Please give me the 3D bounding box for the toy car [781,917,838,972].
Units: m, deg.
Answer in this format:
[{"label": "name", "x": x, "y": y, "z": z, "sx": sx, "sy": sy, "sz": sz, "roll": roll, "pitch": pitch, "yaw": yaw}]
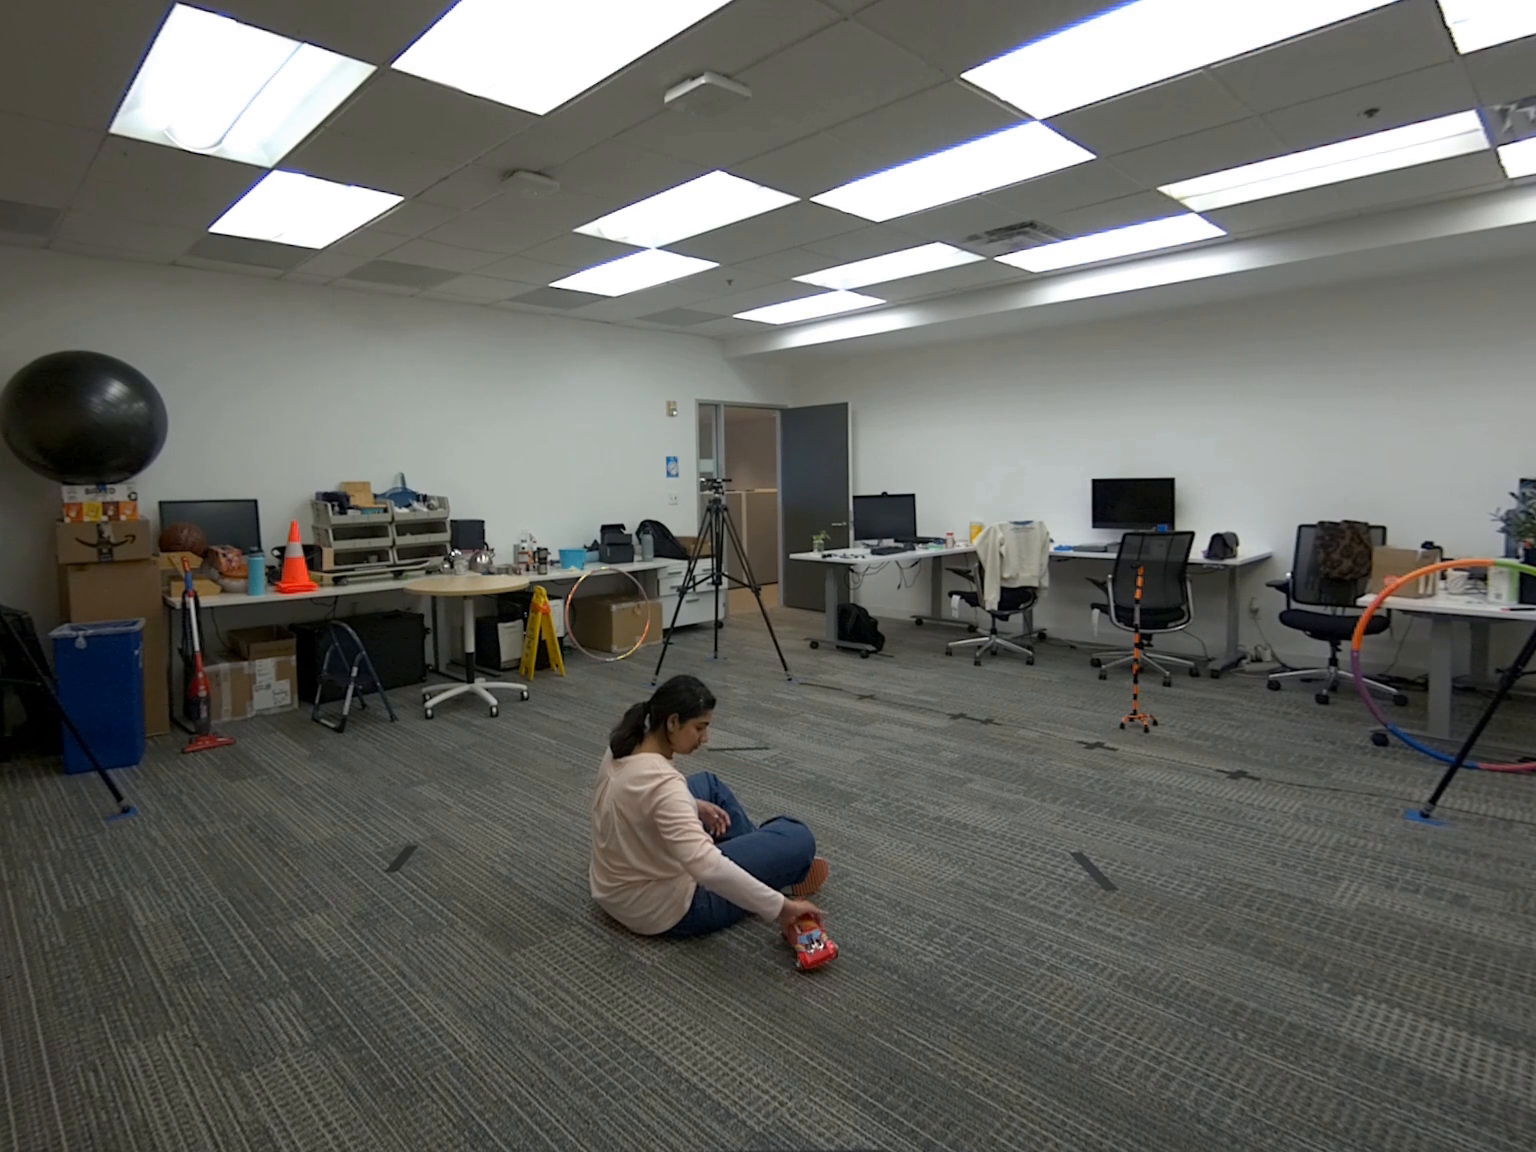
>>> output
[{"label": "toy car", "x": 0.098, "y": 1.053, "z": 2.517, "sx": 0.129, "sy": 0.081, "sz": 0.263, "roll": -17, "pitch": 26, "yaw": -12}]
